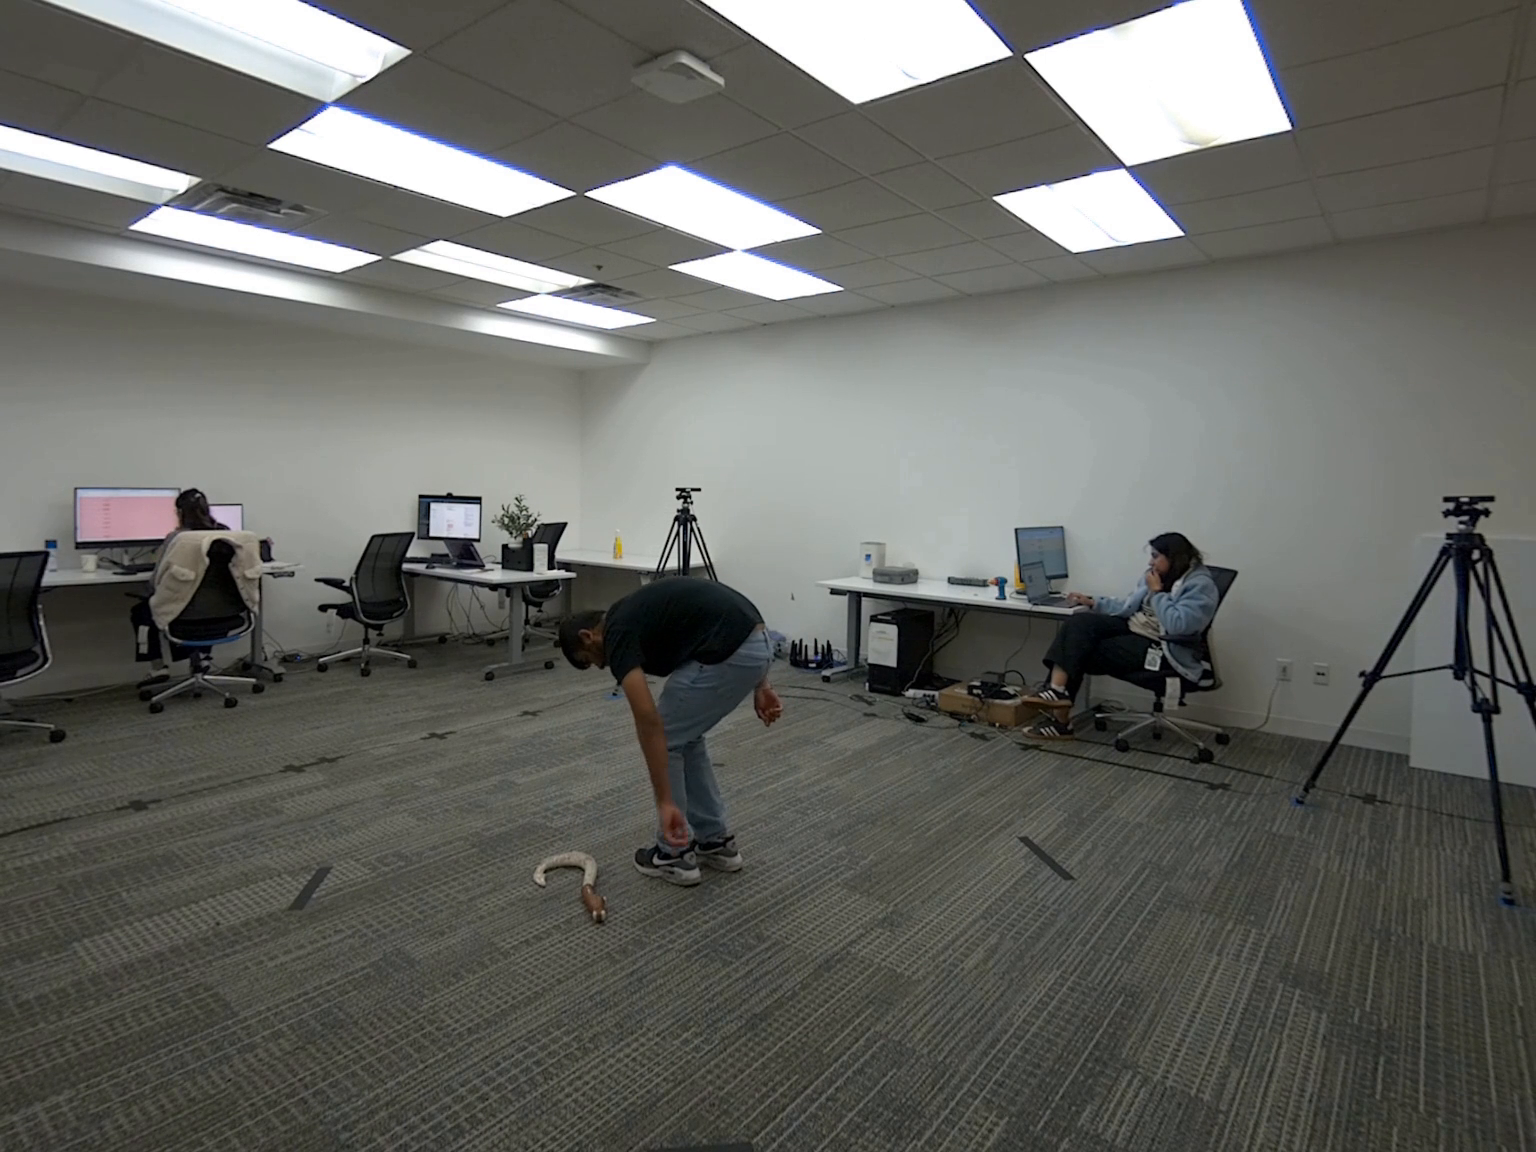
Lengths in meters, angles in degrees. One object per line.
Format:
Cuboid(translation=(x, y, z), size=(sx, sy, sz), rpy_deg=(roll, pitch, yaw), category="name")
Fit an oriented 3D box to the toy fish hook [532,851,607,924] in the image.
Cuboid(translation=(-0.682, 1.065, 2.910), size=(0.221, 0.048, 0.519), rpy_deg=(-10, 9, -21), category="toy fish hook")
